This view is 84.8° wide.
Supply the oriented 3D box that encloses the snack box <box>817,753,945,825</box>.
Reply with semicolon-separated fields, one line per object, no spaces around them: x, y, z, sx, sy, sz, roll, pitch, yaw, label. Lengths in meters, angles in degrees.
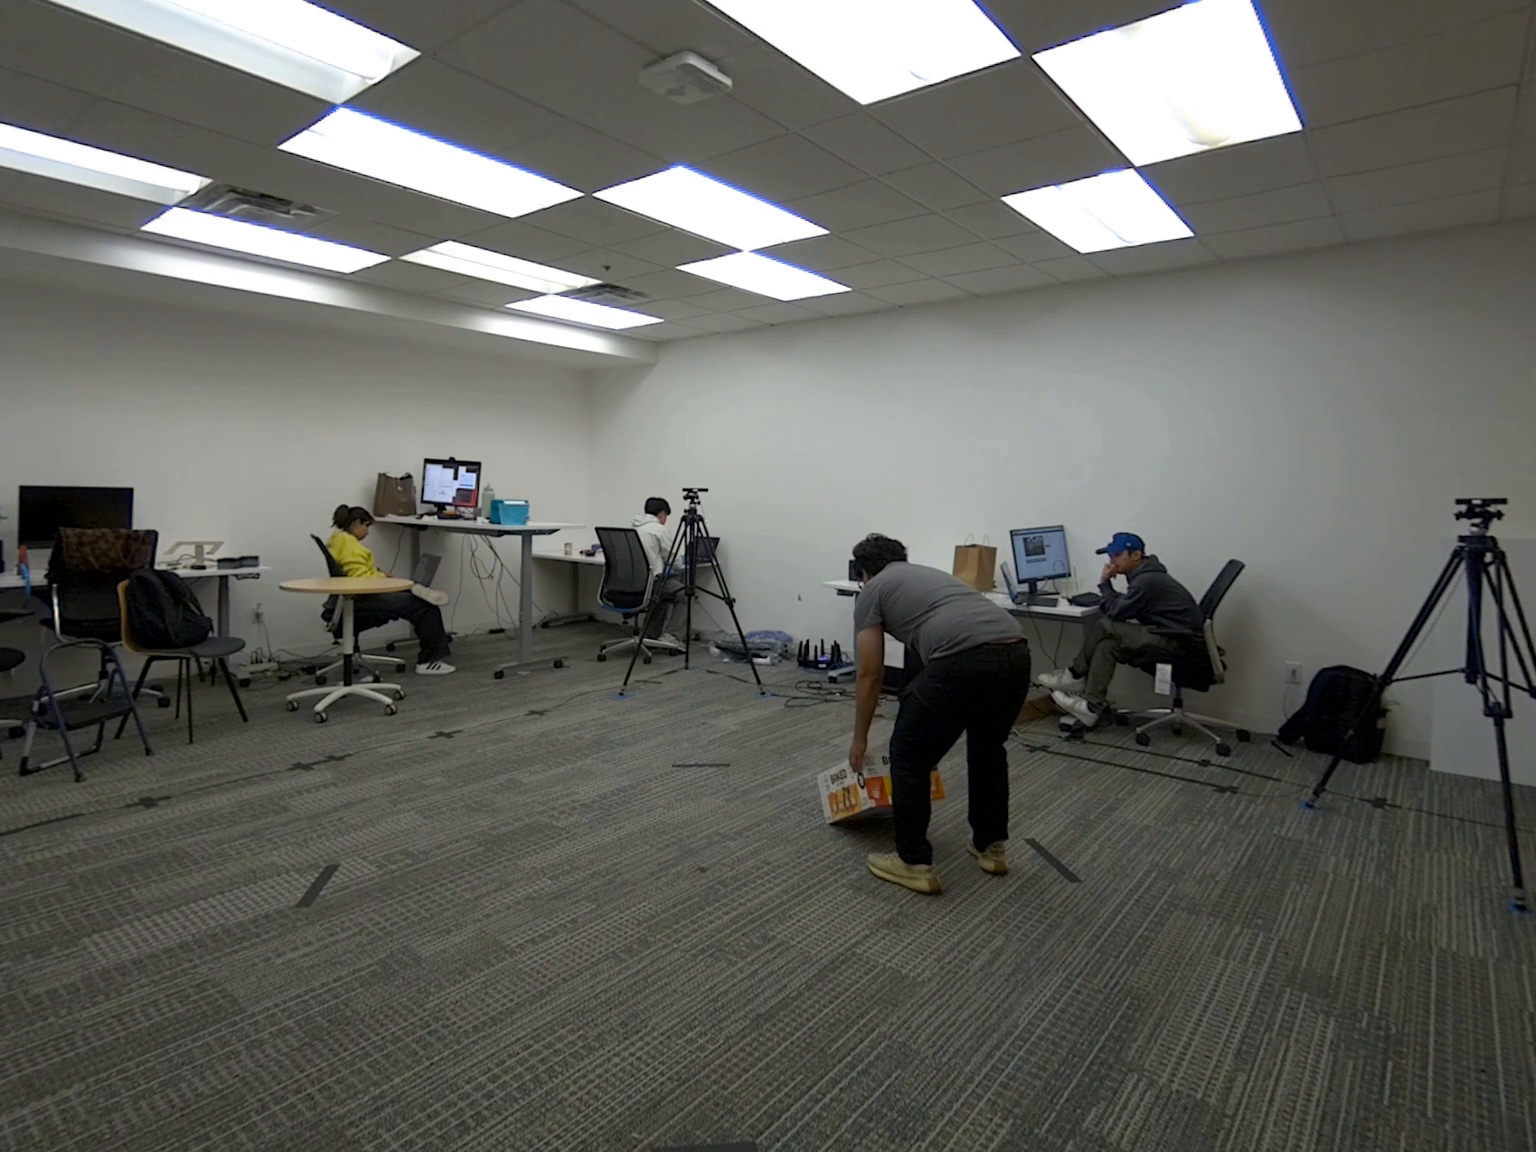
0.448;0.861;3.493;0.333;0.211;0.403;0;-25;-21;snack box
